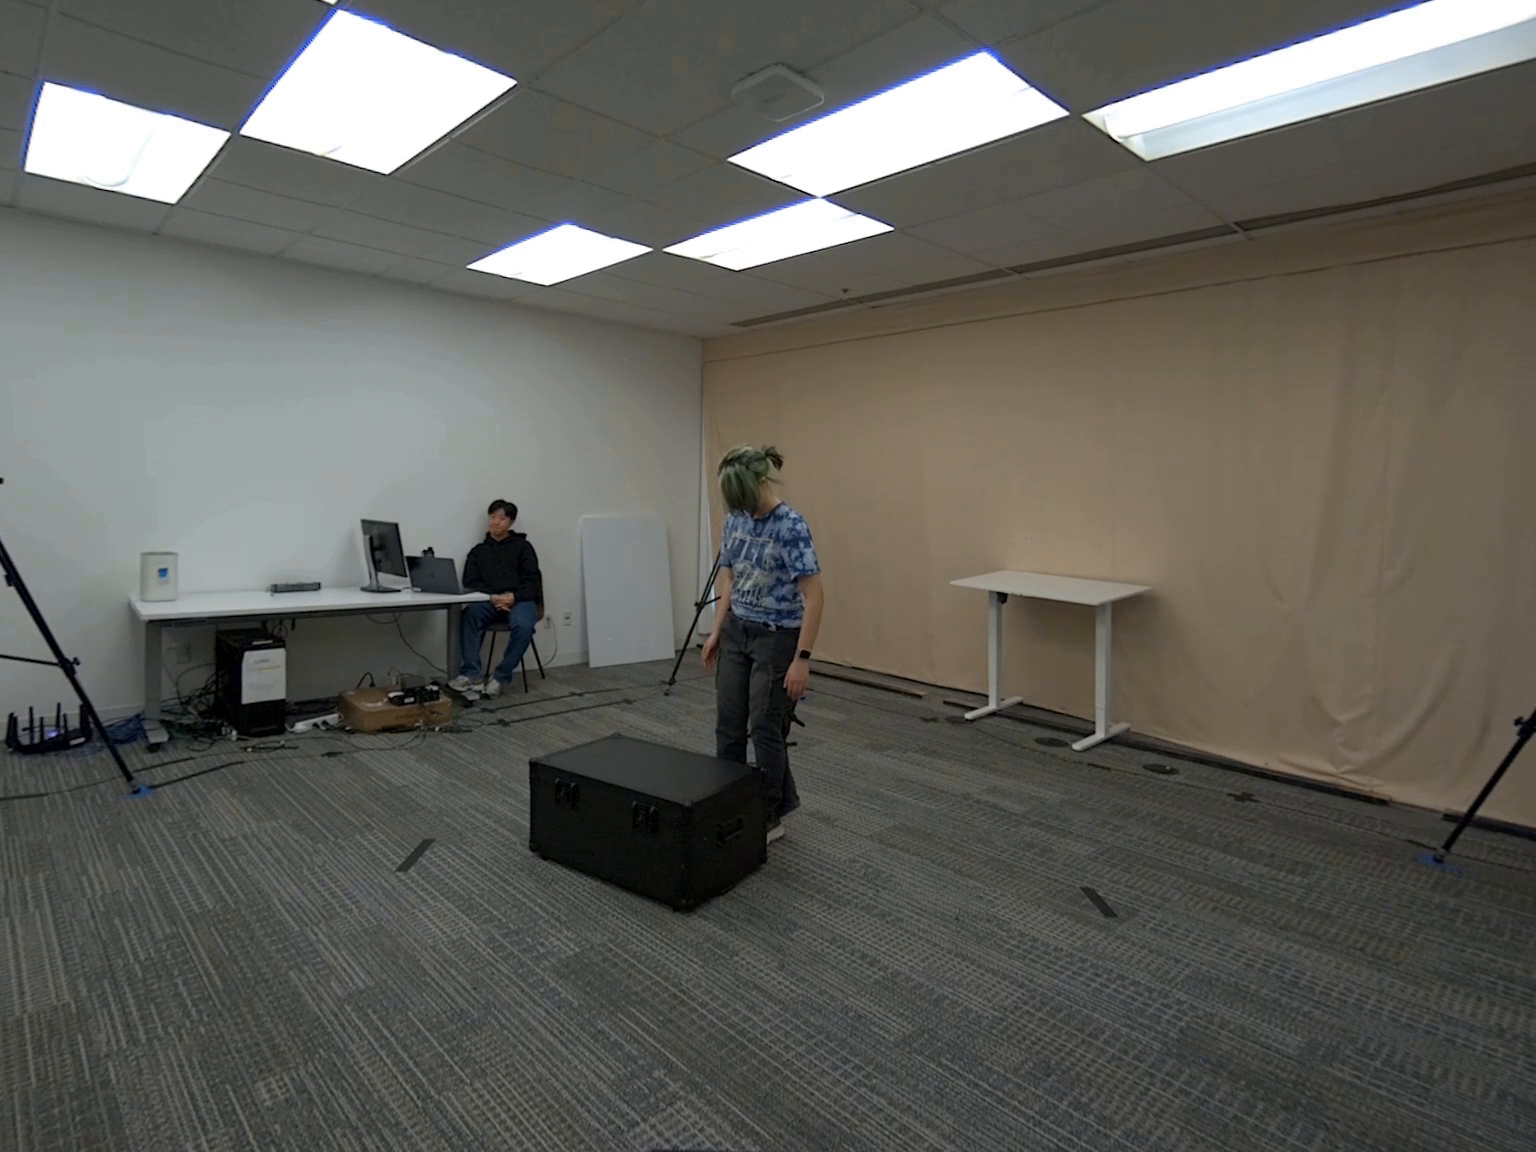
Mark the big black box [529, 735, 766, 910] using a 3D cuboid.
[{"bbox_3d":[-0.491,0.896,3.202,0.882,0.395,0.510,5,6,34],"label":"big black box"}]
